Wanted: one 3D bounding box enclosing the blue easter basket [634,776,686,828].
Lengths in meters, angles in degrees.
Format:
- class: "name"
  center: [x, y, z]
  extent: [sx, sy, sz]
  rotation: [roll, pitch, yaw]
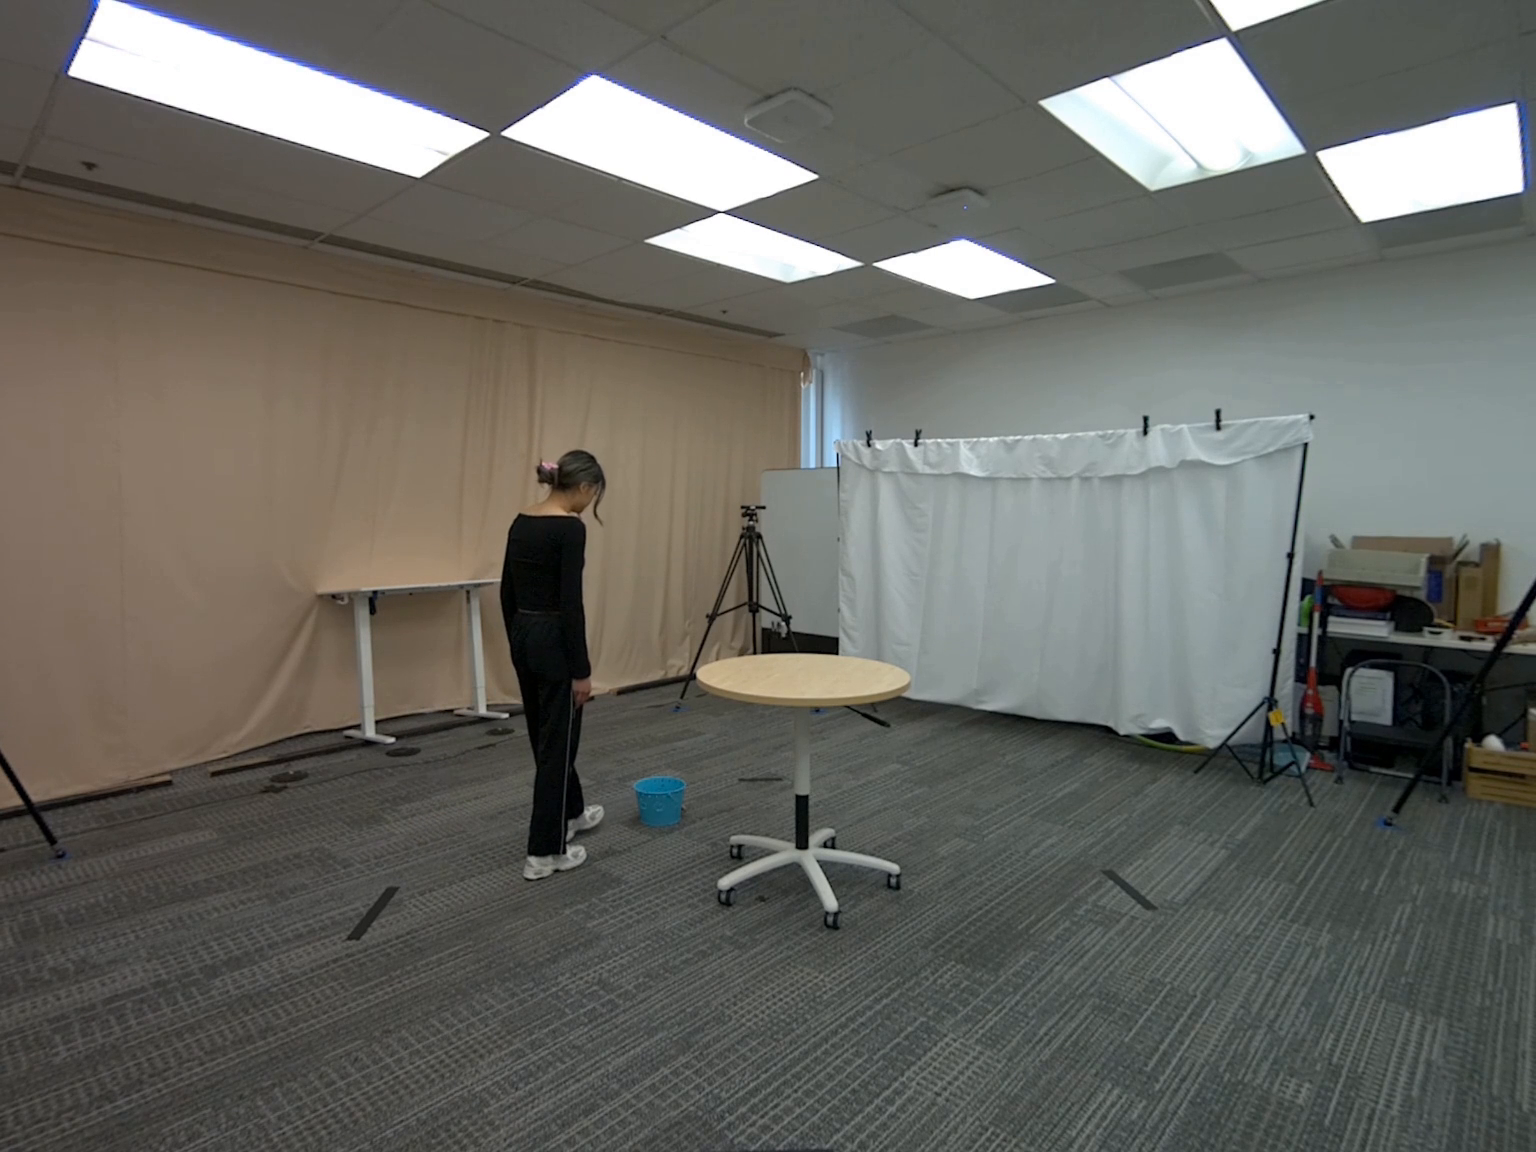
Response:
- class: "blue easter basket"
  center: [-0.479, 1.004, 3.755]
  extent: [0.243, 0.155, 0.244]
  rotation: [0, 5, -2]
